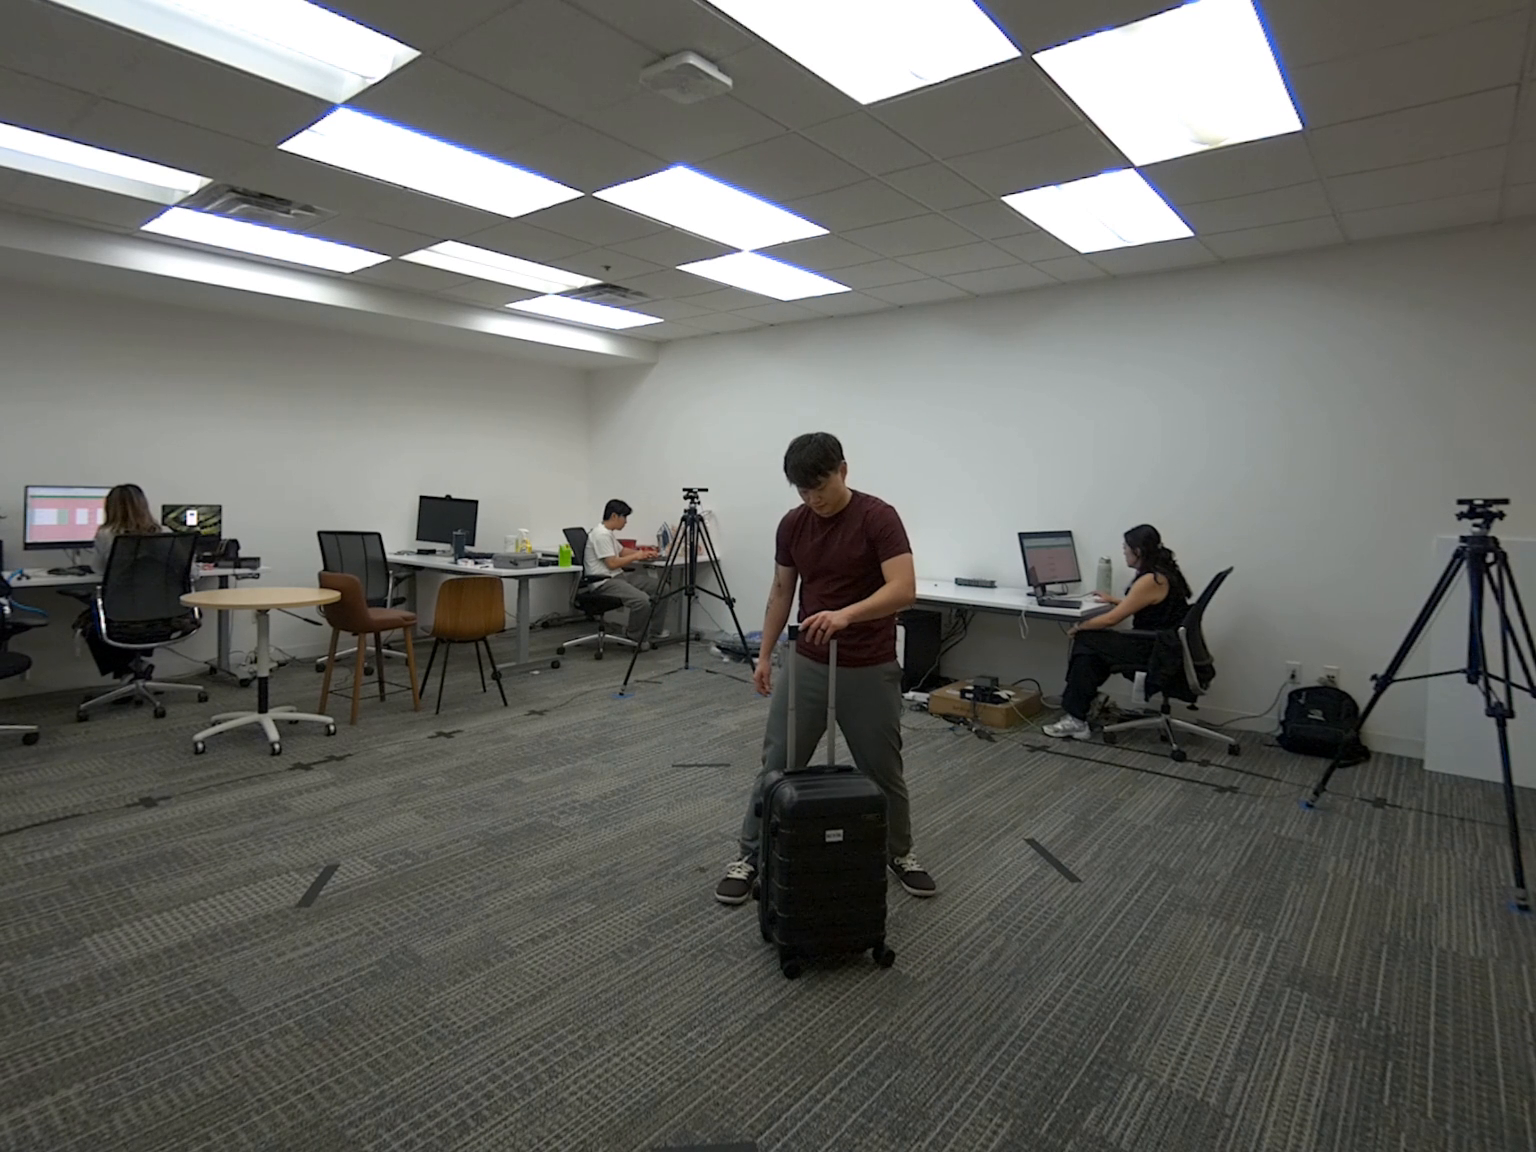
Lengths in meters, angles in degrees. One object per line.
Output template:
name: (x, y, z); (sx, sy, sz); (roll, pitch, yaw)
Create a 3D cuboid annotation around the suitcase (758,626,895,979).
suitcase: (0.161, 0.655, 2.531); (0.379, 0.974, 0.262); (-1, 5, -13)
